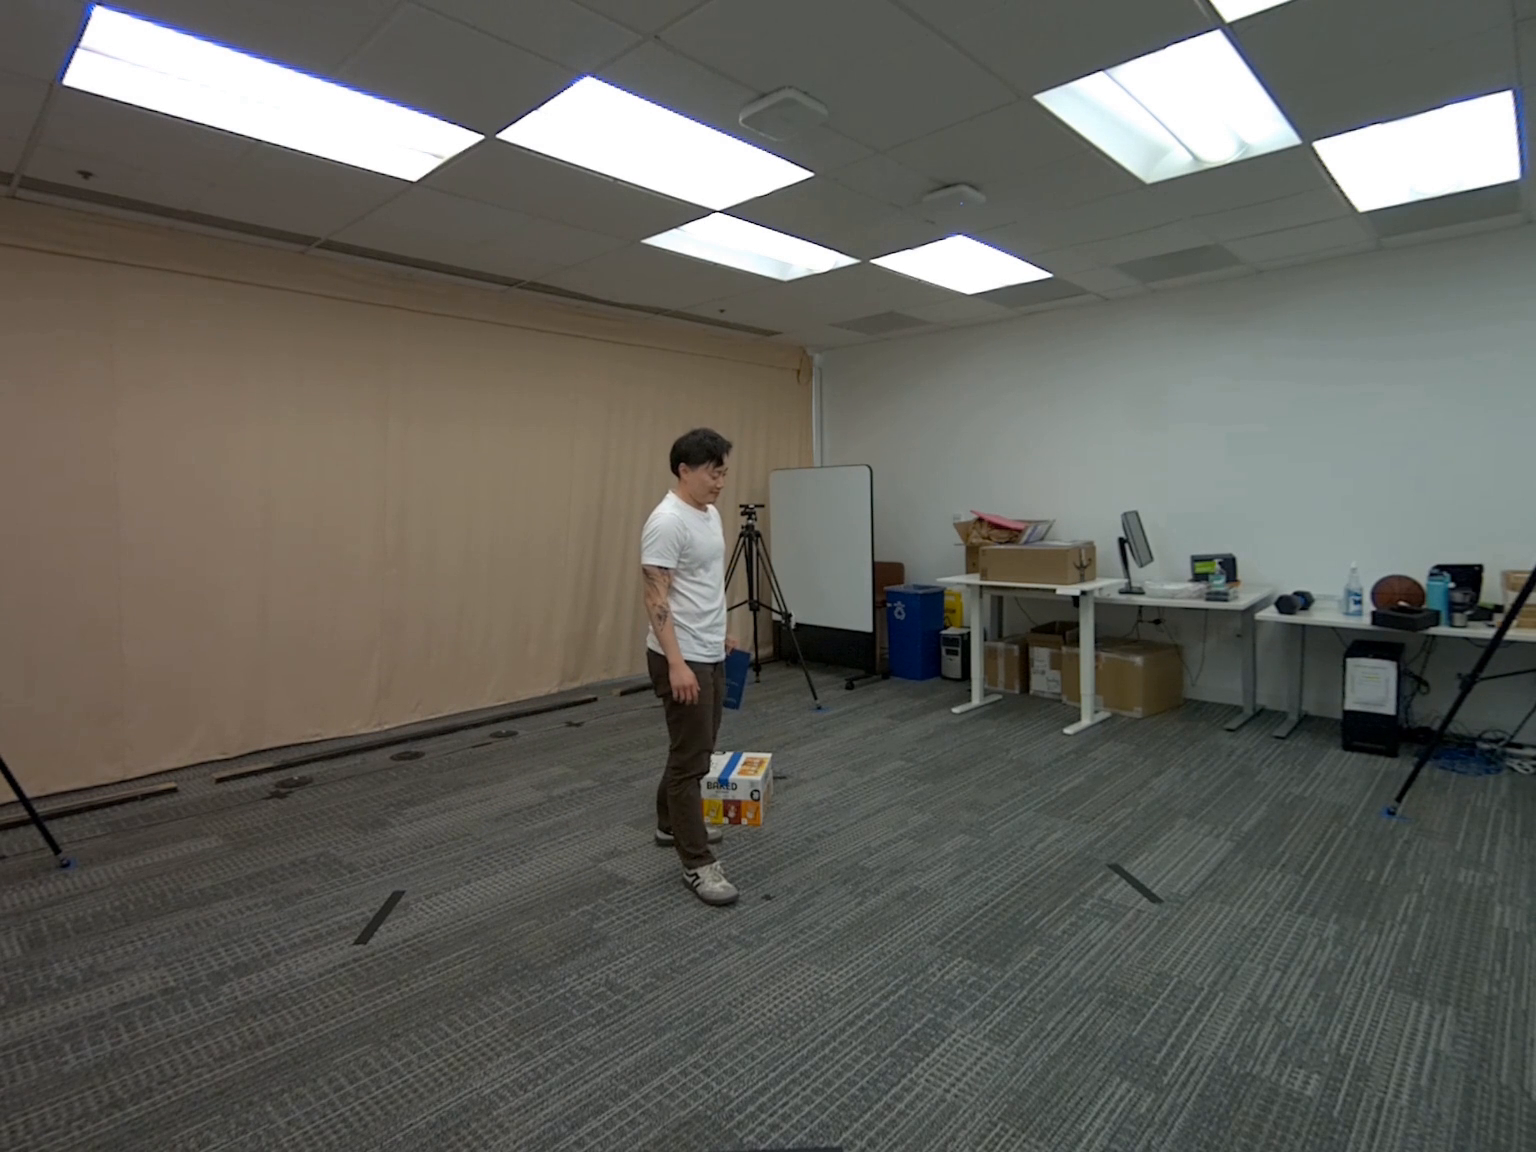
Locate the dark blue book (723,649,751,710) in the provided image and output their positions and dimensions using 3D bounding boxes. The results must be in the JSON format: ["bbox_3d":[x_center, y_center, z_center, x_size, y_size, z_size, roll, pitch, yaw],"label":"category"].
[{"bbox_3d":[-0.174,0.425,3.508,0.162,0.245,0.045,12,0,-4],"label":"dark blue book"}]
